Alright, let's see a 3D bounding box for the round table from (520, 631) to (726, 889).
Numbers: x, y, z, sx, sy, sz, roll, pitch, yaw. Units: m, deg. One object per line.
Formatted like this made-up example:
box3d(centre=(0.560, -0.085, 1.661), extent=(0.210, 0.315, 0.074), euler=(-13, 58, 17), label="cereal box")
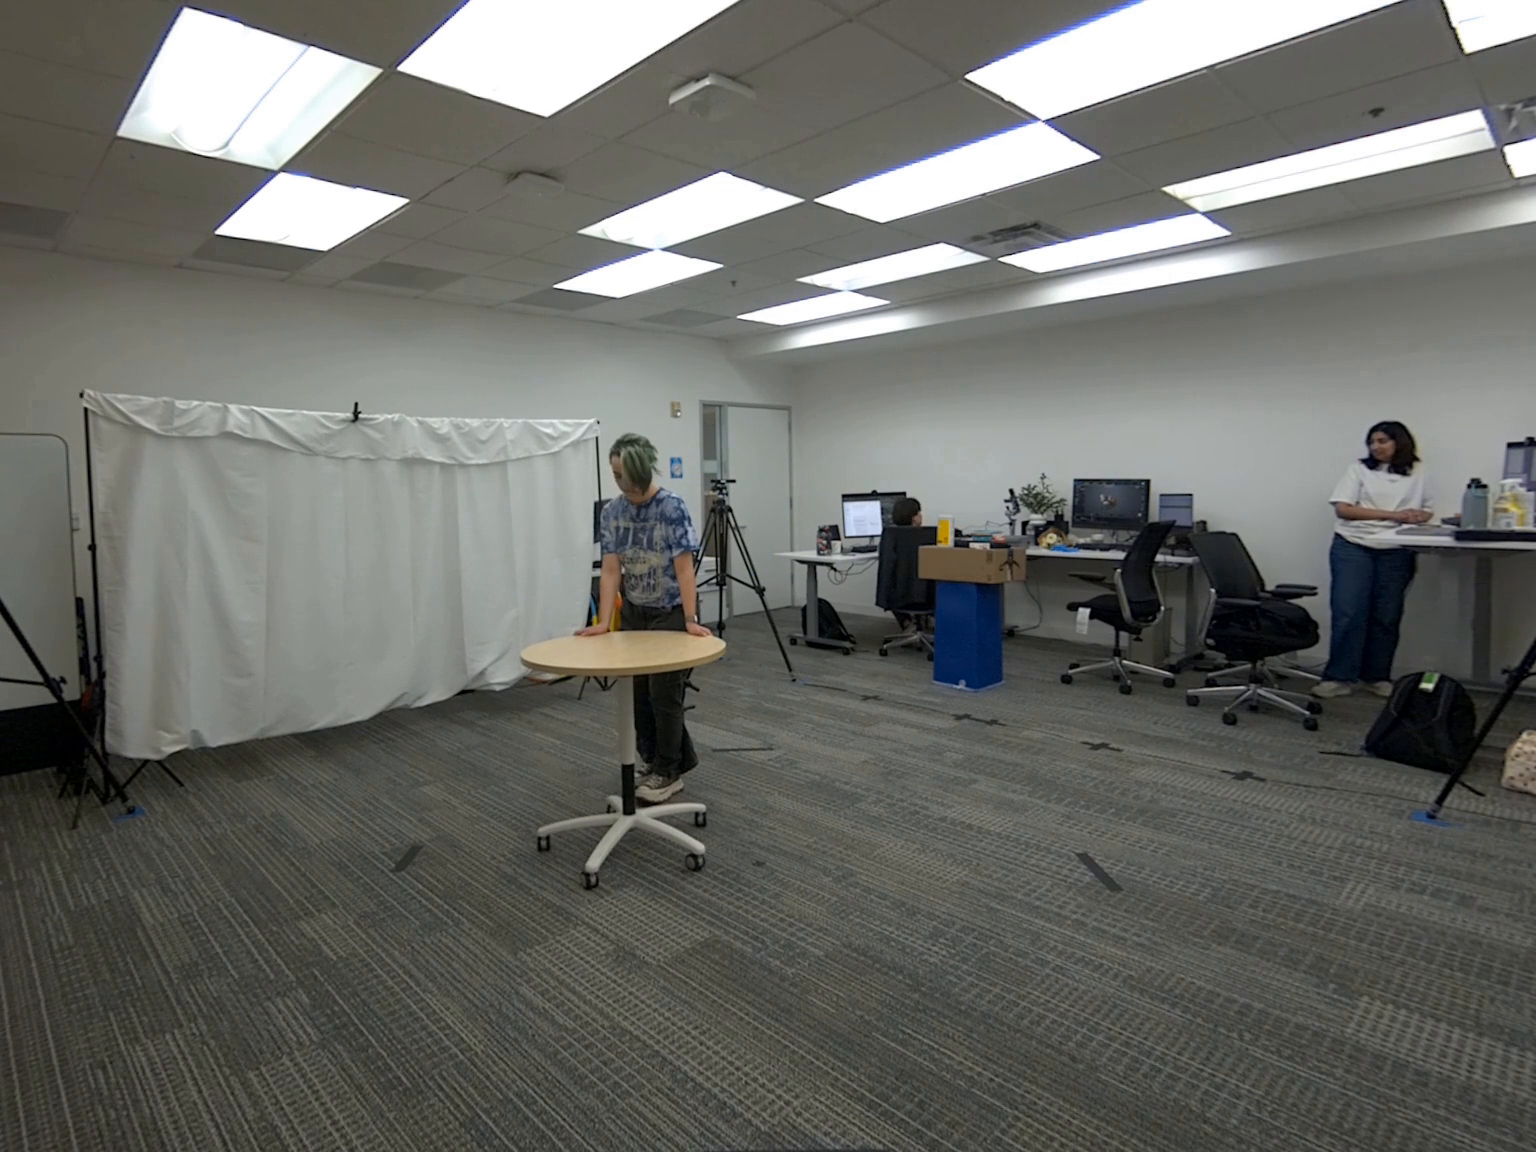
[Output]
box3d(centre=(-0.537, 0.661, 3.230), extent=(0.763, 0.791, 0.767), euler=(-1, 4, -2), label="round table")
